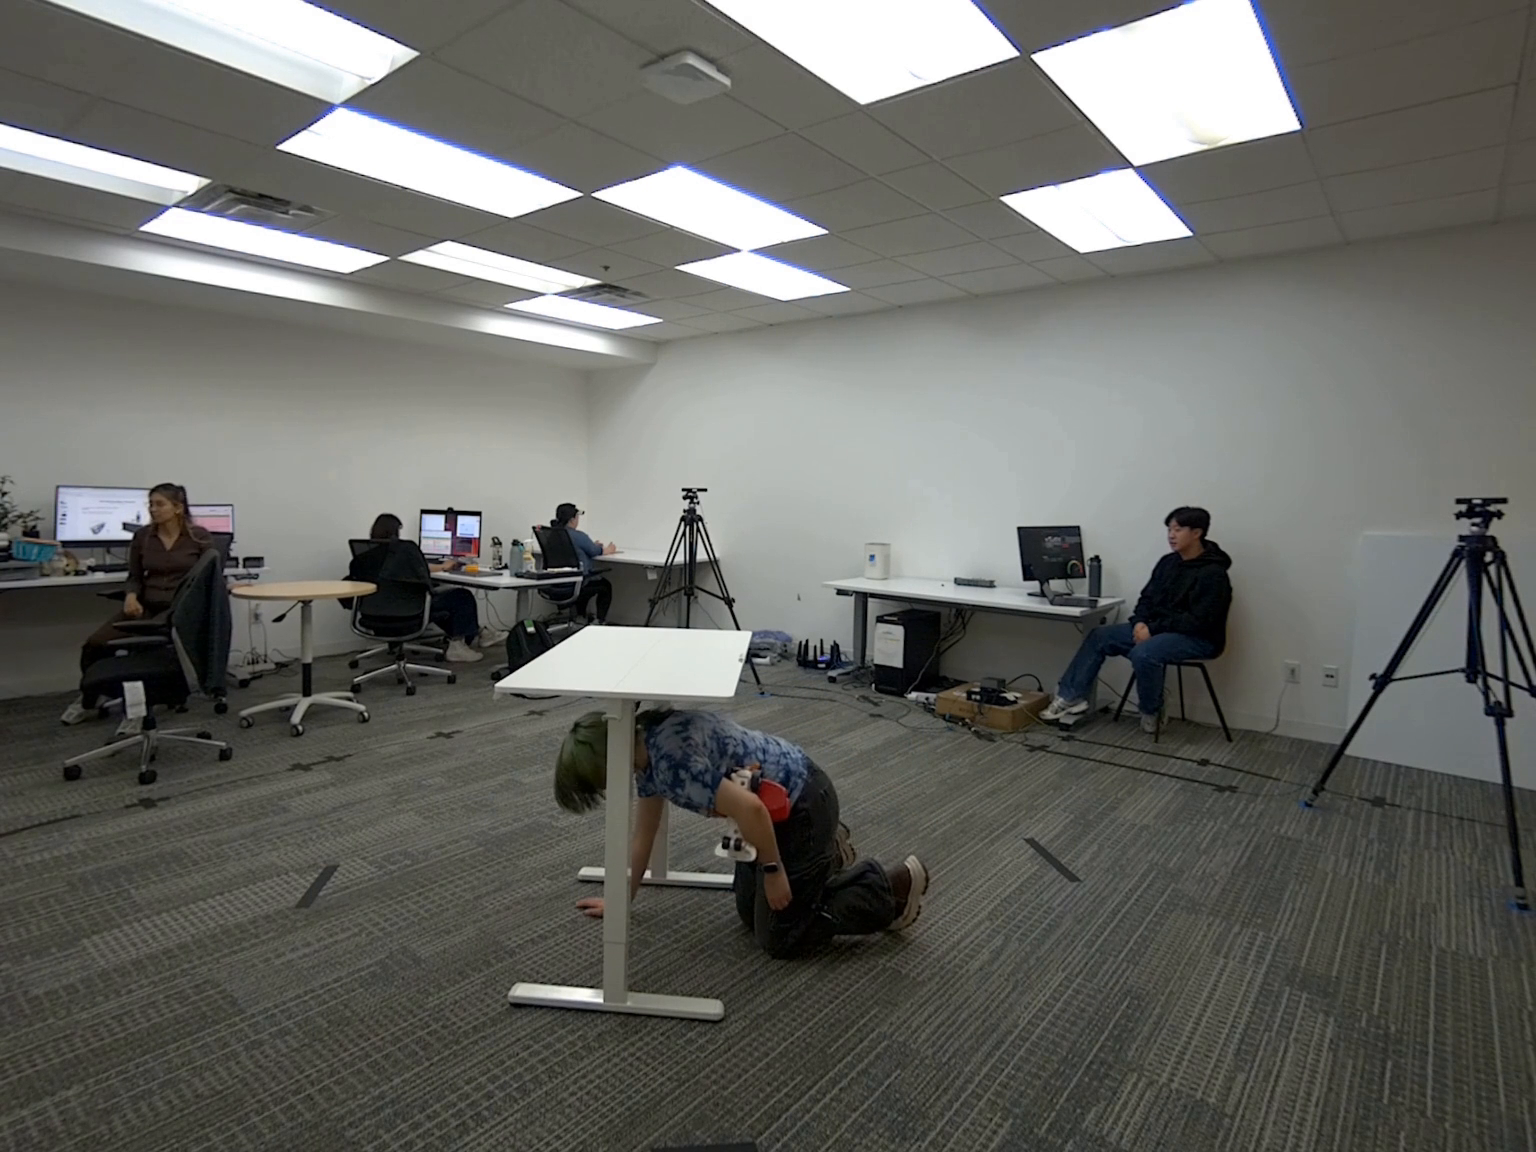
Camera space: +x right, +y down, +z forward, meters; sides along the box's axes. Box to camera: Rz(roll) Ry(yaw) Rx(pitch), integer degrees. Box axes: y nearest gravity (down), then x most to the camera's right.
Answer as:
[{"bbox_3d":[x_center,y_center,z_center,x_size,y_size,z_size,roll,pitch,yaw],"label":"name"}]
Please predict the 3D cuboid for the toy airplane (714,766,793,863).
[{"bbox_3d":[-0.101,0.657,2.398,0.259,0.260,0.151,29,-16,23],"label":"toy airplane"}]
